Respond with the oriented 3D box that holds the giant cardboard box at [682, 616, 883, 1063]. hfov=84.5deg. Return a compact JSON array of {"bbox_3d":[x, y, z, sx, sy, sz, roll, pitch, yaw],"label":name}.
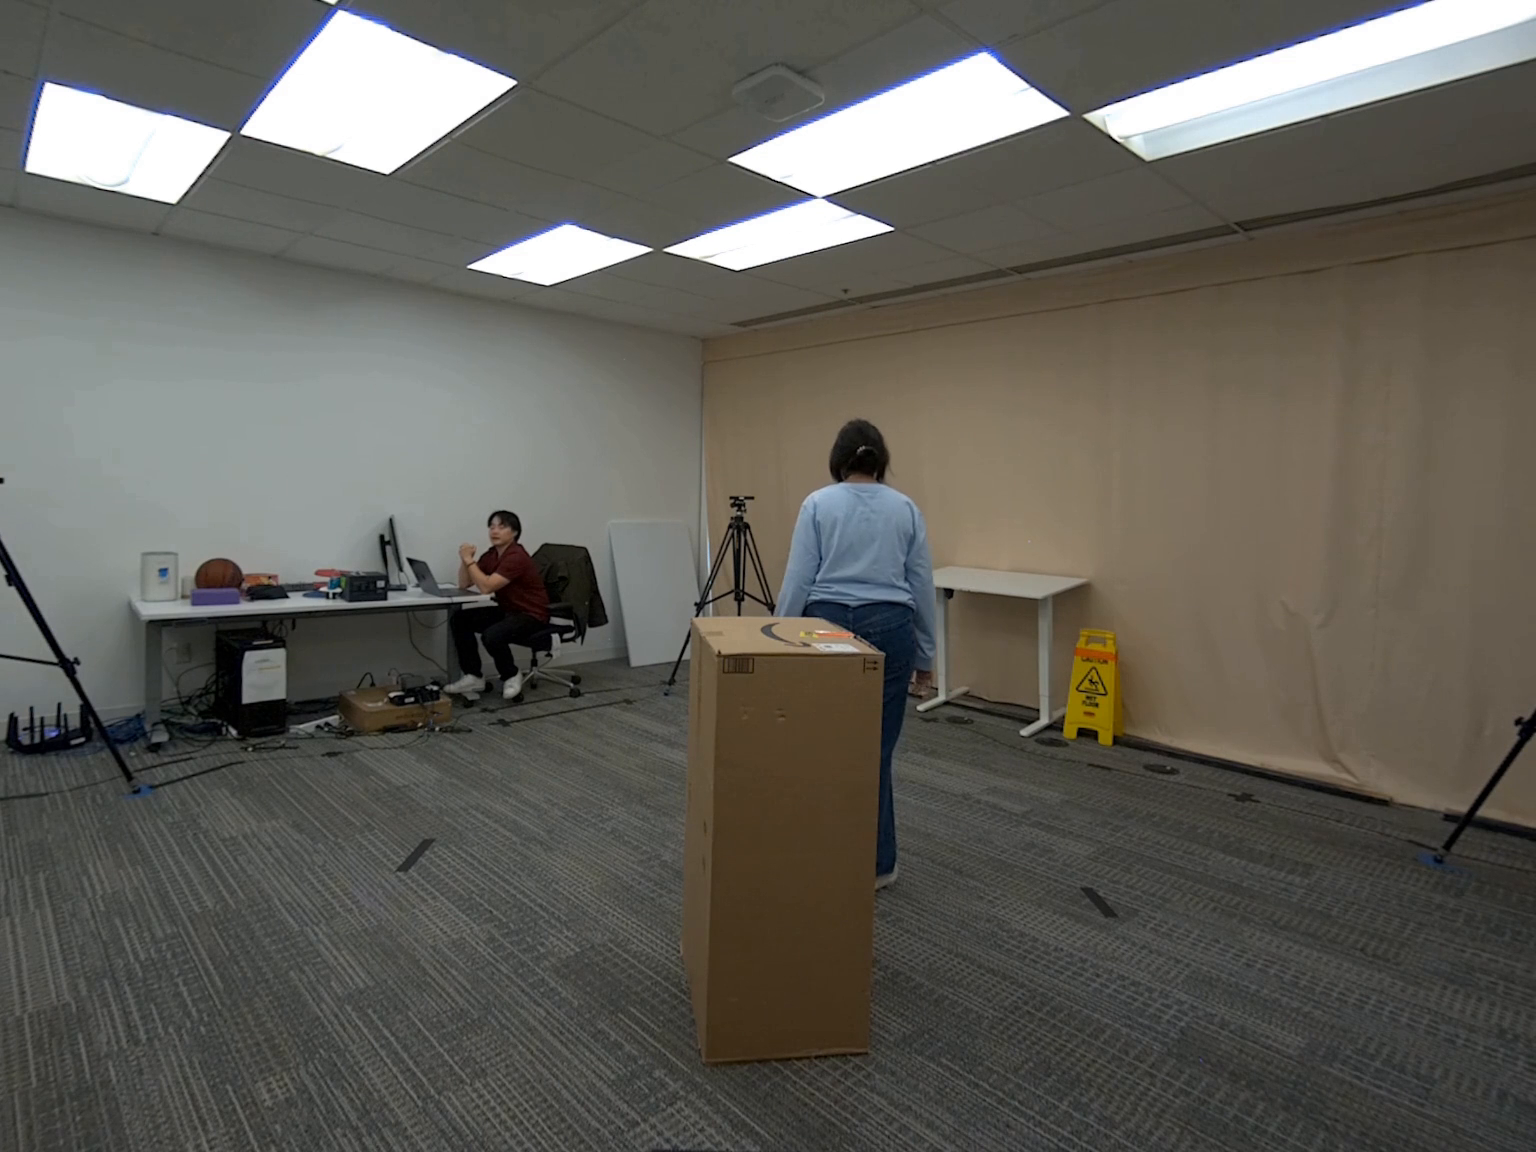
[{"bbox_3d":[0.005,0.669,2.341,0.443,1.024,0.590,1,4,-10],"label":"giant cardboard box"}]
